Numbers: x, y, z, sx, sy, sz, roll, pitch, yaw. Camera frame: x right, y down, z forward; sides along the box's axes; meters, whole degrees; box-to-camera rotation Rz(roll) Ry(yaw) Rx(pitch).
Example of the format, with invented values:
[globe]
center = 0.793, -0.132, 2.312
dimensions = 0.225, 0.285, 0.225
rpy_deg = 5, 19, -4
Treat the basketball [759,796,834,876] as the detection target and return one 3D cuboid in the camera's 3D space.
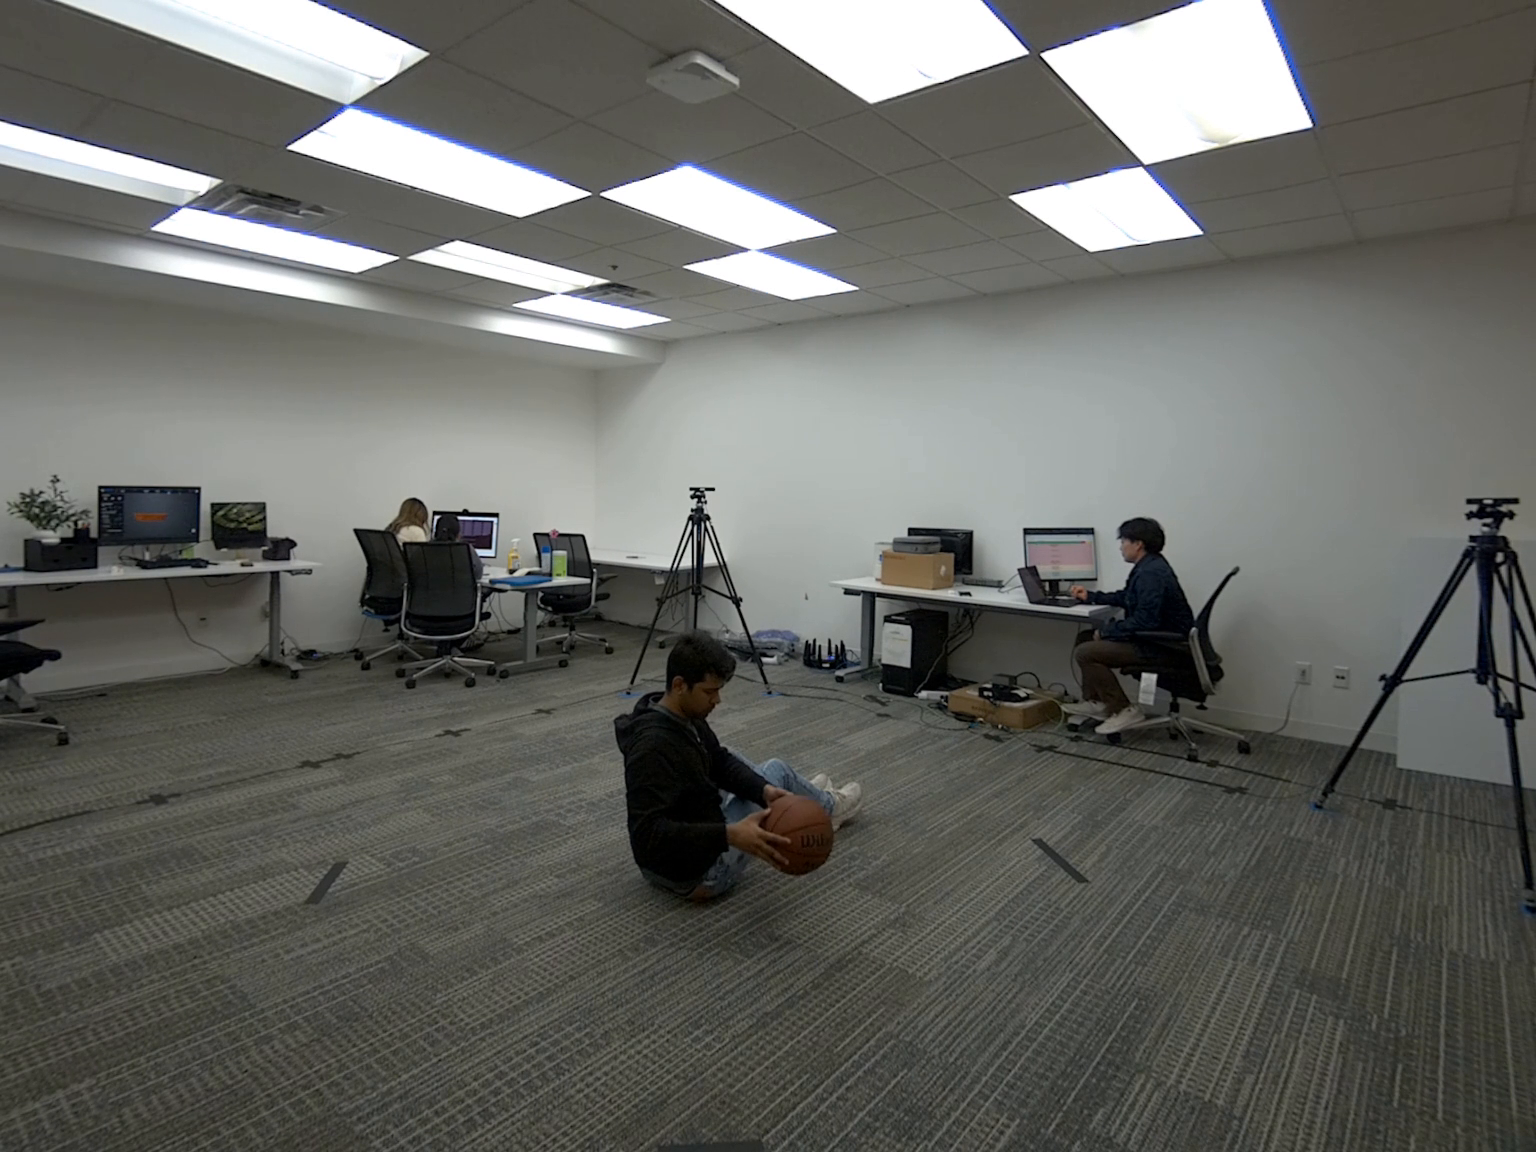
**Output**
[basketball]
center = 0.080, 0.806, 2.691
dimensions = 0.235, 0.235, 0.237
rpy_deg = 1, 4, -2
